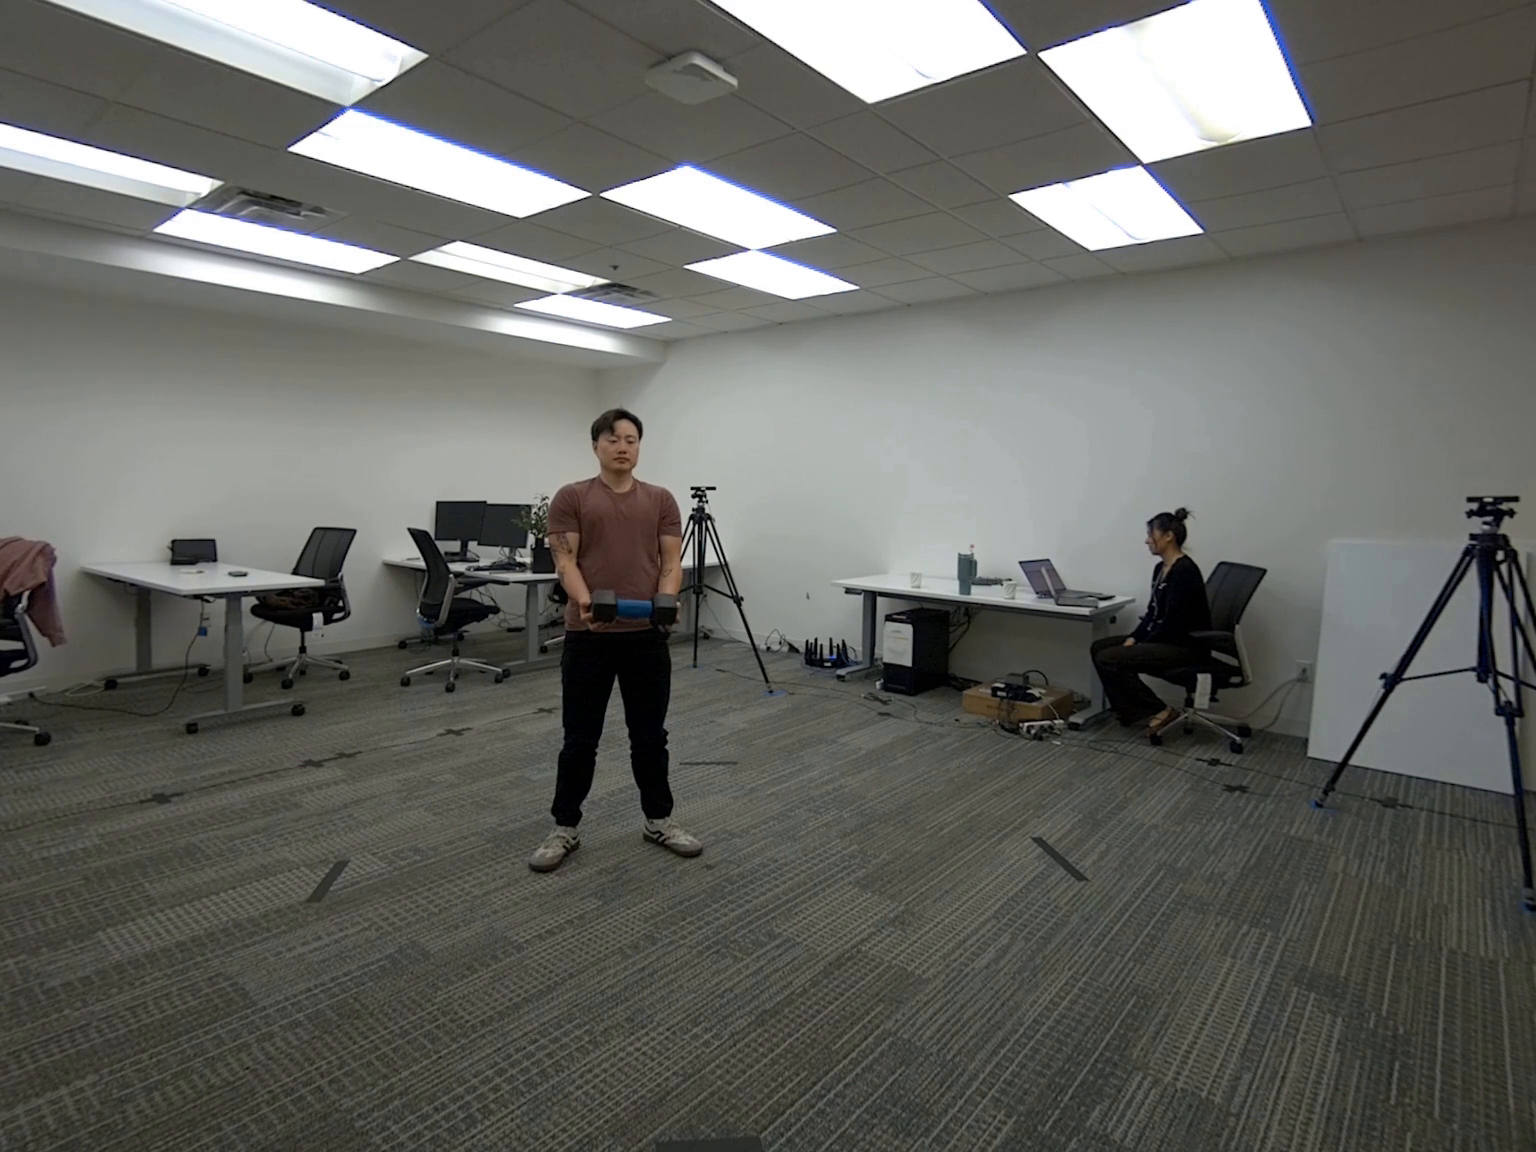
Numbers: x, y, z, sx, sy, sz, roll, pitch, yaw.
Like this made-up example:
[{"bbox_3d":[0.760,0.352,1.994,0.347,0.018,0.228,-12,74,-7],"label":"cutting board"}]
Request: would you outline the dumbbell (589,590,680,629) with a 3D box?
[{"bbox_3d":[-0.485,0.102,2.914,0.288,0.107,0.127,3,45,-17],"label":"dumbbell"}]
